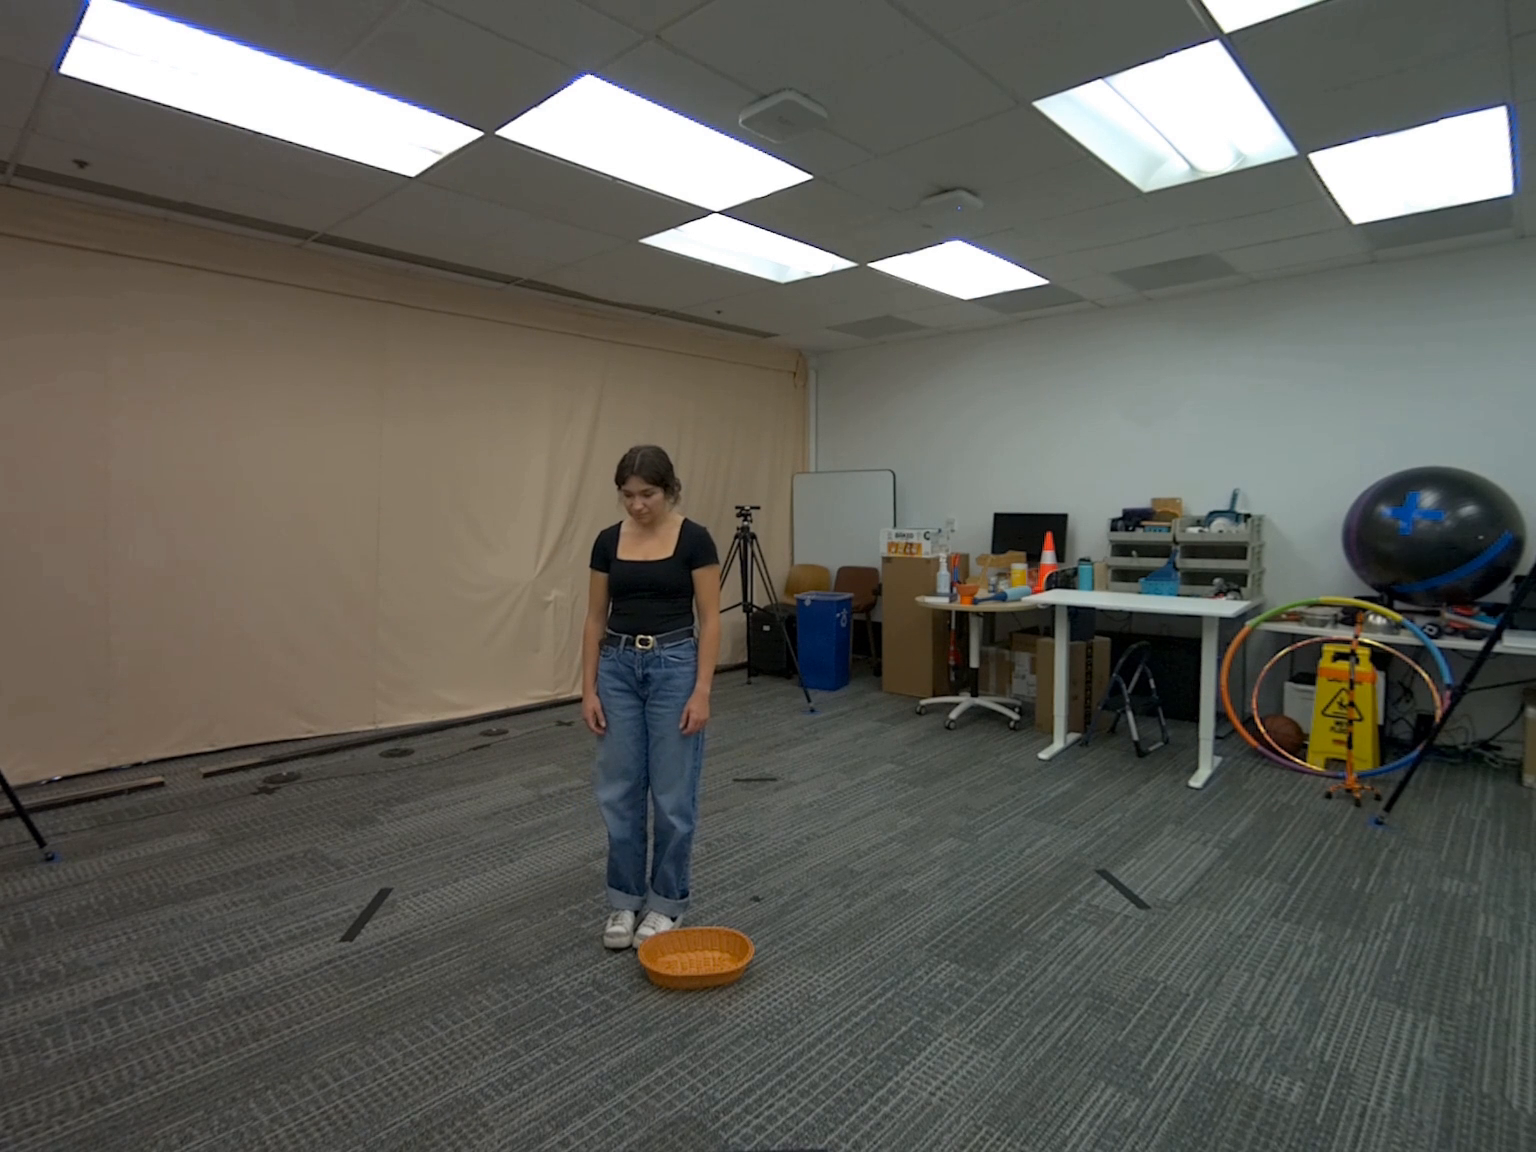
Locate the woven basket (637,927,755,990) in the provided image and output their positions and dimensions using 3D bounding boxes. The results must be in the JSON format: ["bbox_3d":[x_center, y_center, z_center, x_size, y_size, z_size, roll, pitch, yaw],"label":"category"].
[{"bbox_3d":[-0.210,1.146,2.510,0.348,0.073,0.255,0,6,-6],"label":"woven basket"}]
